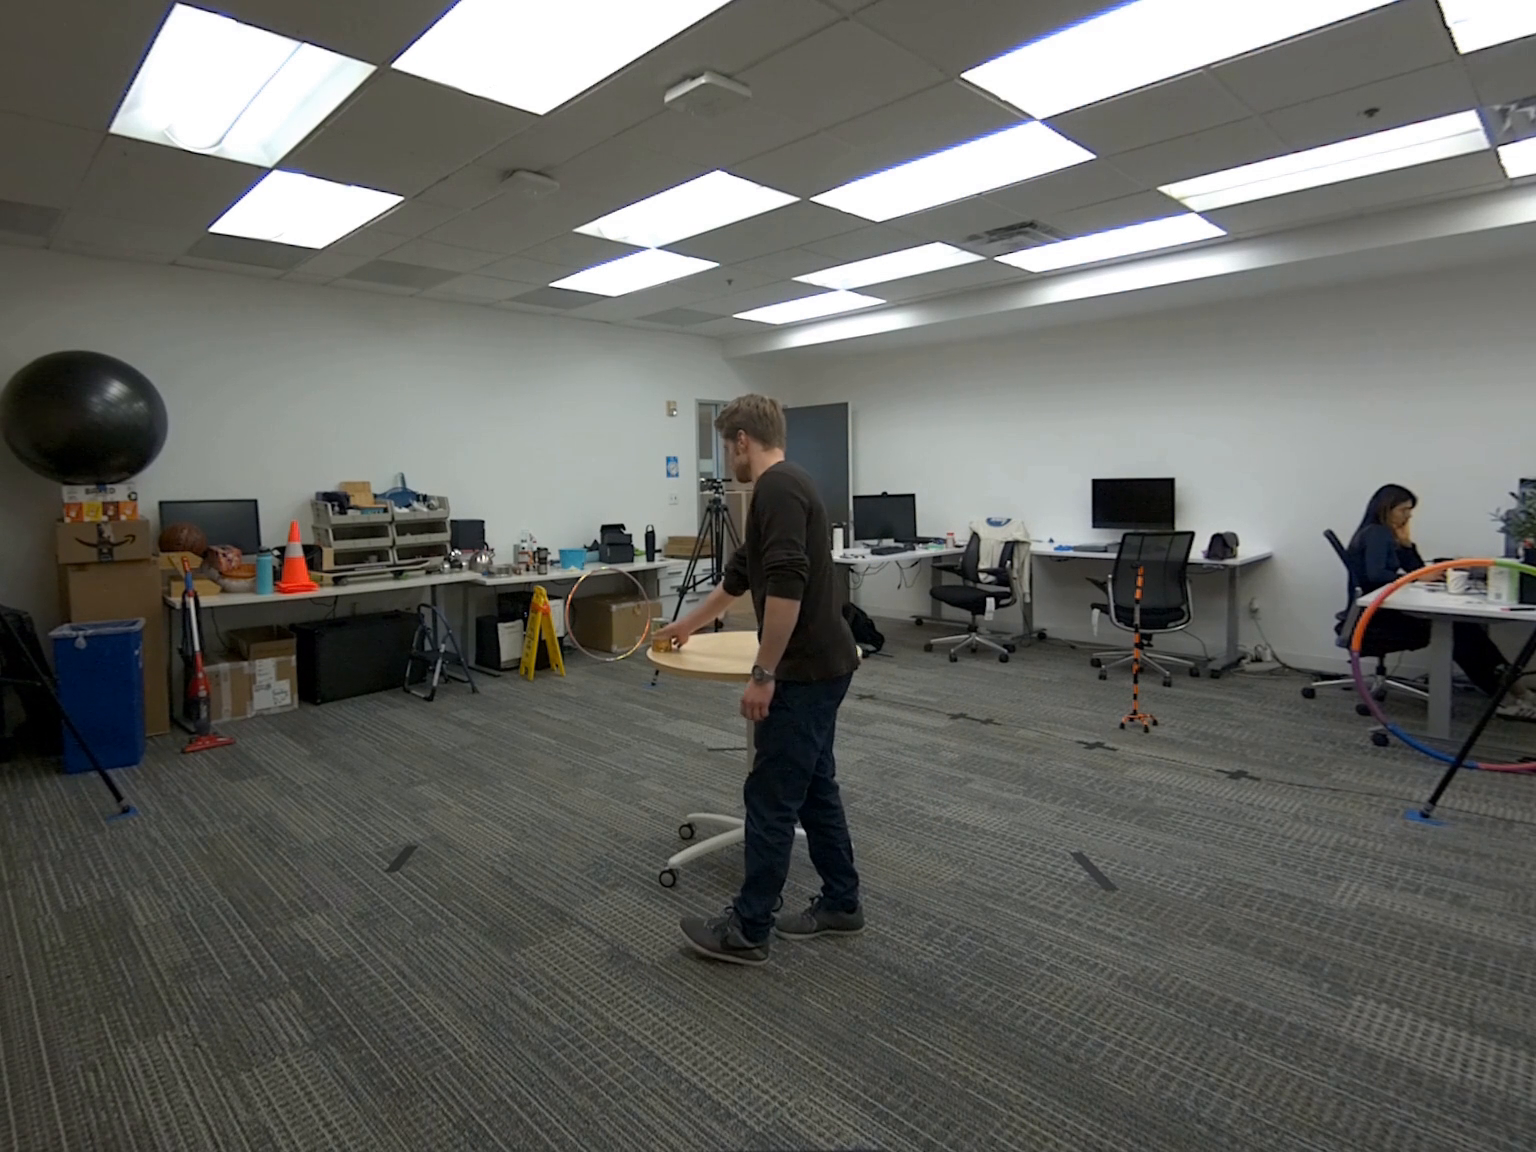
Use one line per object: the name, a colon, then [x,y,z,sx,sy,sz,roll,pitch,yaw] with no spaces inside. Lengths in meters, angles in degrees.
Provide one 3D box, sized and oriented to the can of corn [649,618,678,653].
can of corn: [-0.380,0.212,3.064,0.074,0.110,0.075,-1,6,-2]
